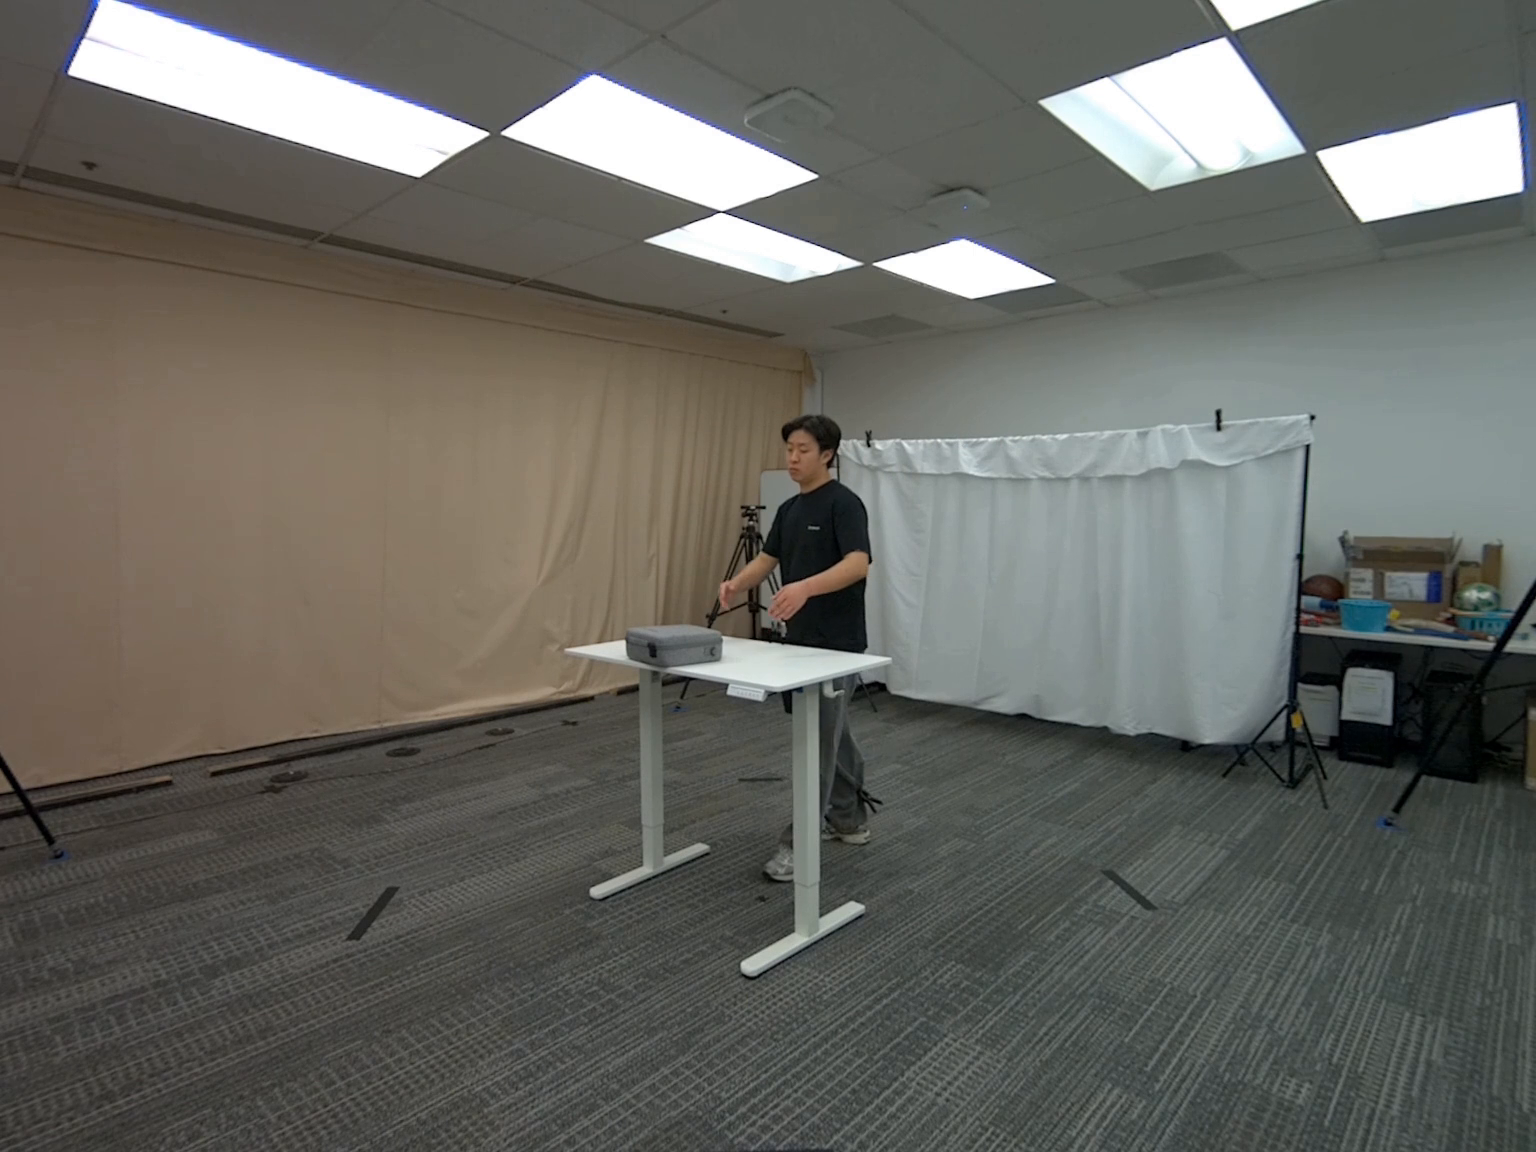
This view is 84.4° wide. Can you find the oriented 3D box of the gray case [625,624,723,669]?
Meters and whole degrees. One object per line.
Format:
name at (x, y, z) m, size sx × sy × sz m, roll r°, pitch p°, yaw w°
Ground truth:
gray case at (-0.309, 0.226, 2.797) m, size 0.253 × 0.104 × 0.265 m, roll -2°, pitch 4°, yaw -34°
